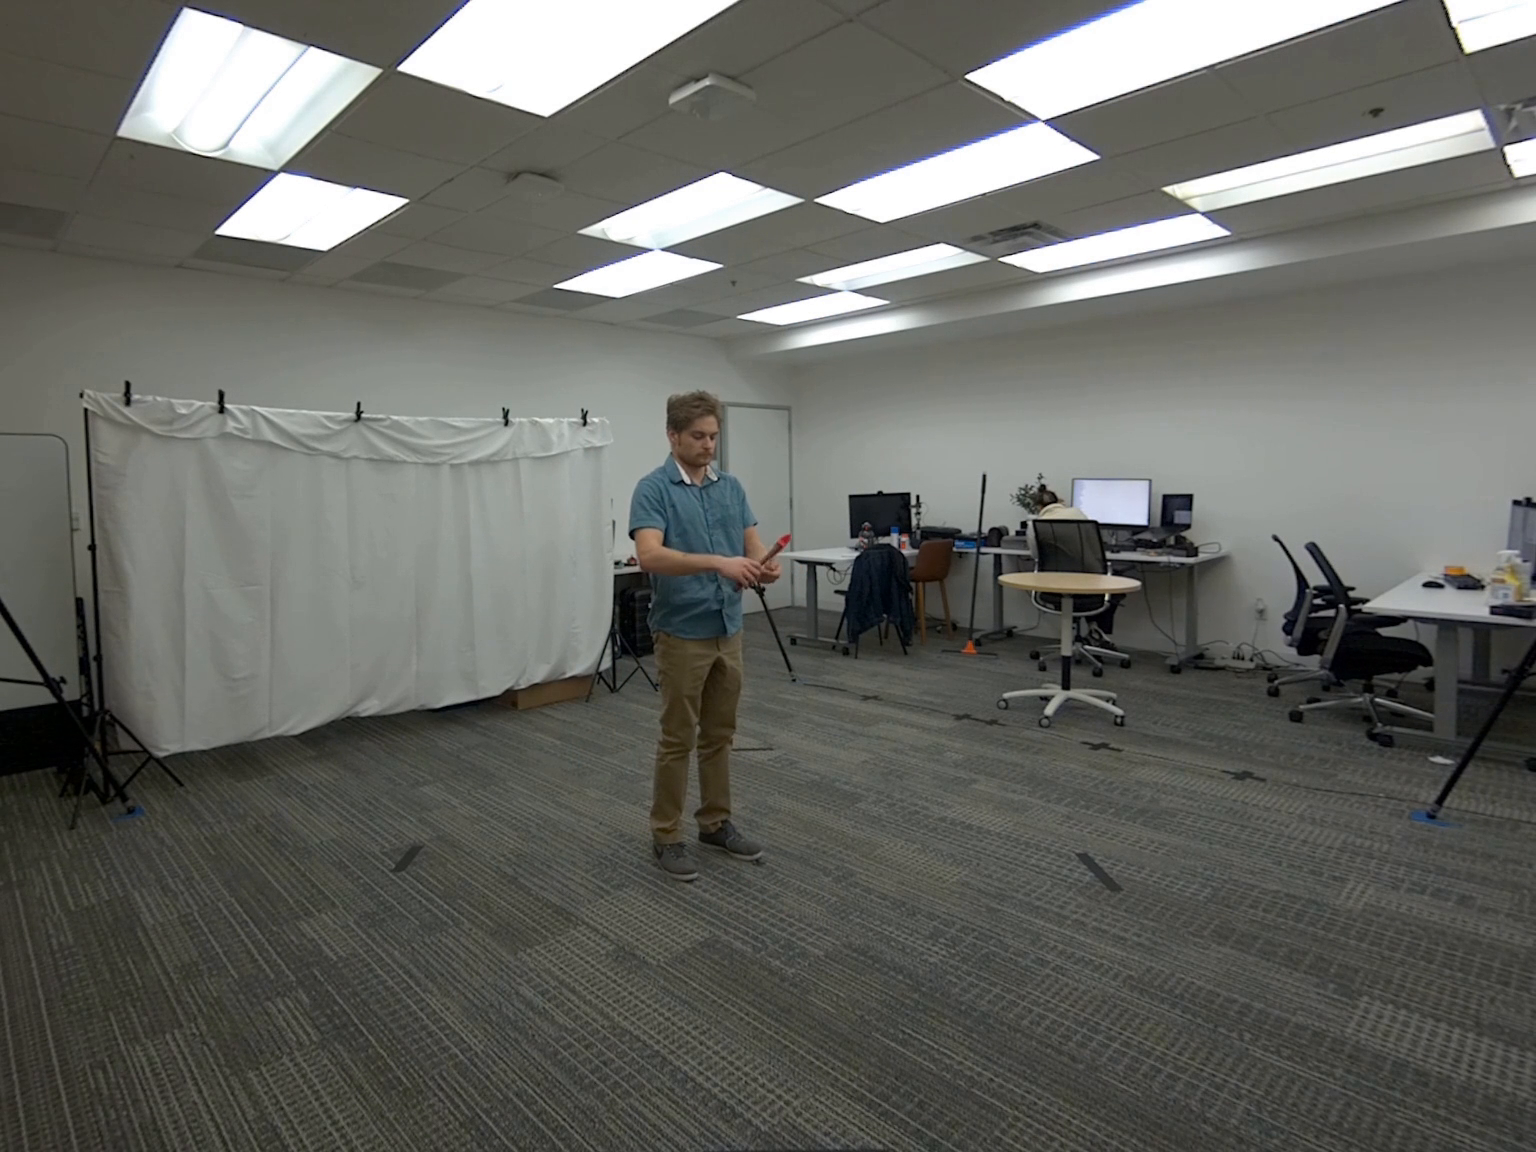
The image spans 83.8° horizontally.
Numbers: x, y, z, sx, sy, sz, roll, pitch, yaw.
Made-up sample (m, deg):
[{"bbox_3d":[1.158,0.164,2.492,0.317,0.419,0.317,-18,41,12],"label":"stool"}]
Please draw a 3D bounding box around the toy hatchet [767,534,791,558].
[{"bbox_3d":[-0.031,-0.036,2.825,0.270,0.030,0.130,-44,-2,-11],"label":"toy hatchet"}]
